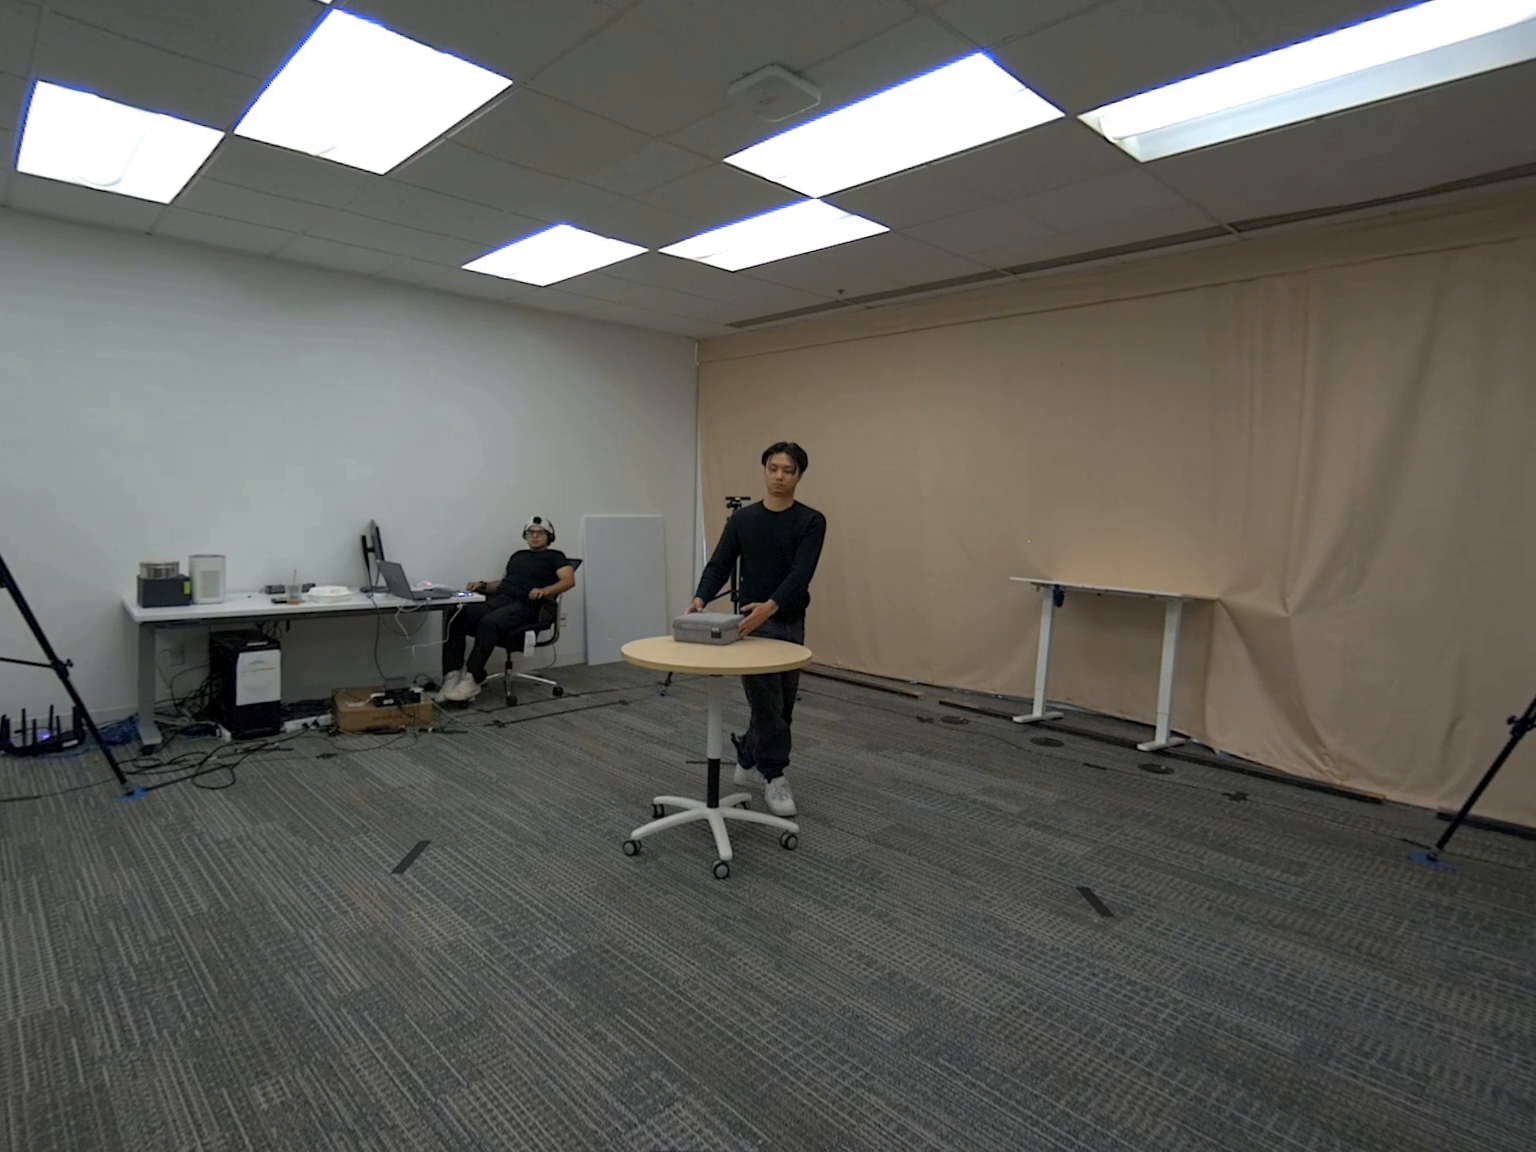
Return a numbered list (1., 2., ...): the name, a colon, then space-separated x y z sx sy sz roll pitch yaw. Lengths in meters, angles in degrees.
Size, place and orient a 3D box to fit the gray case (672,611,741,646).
1. gray case: -0.271 0.221 3.631 0.261 0.104 0.257 2 5 17
